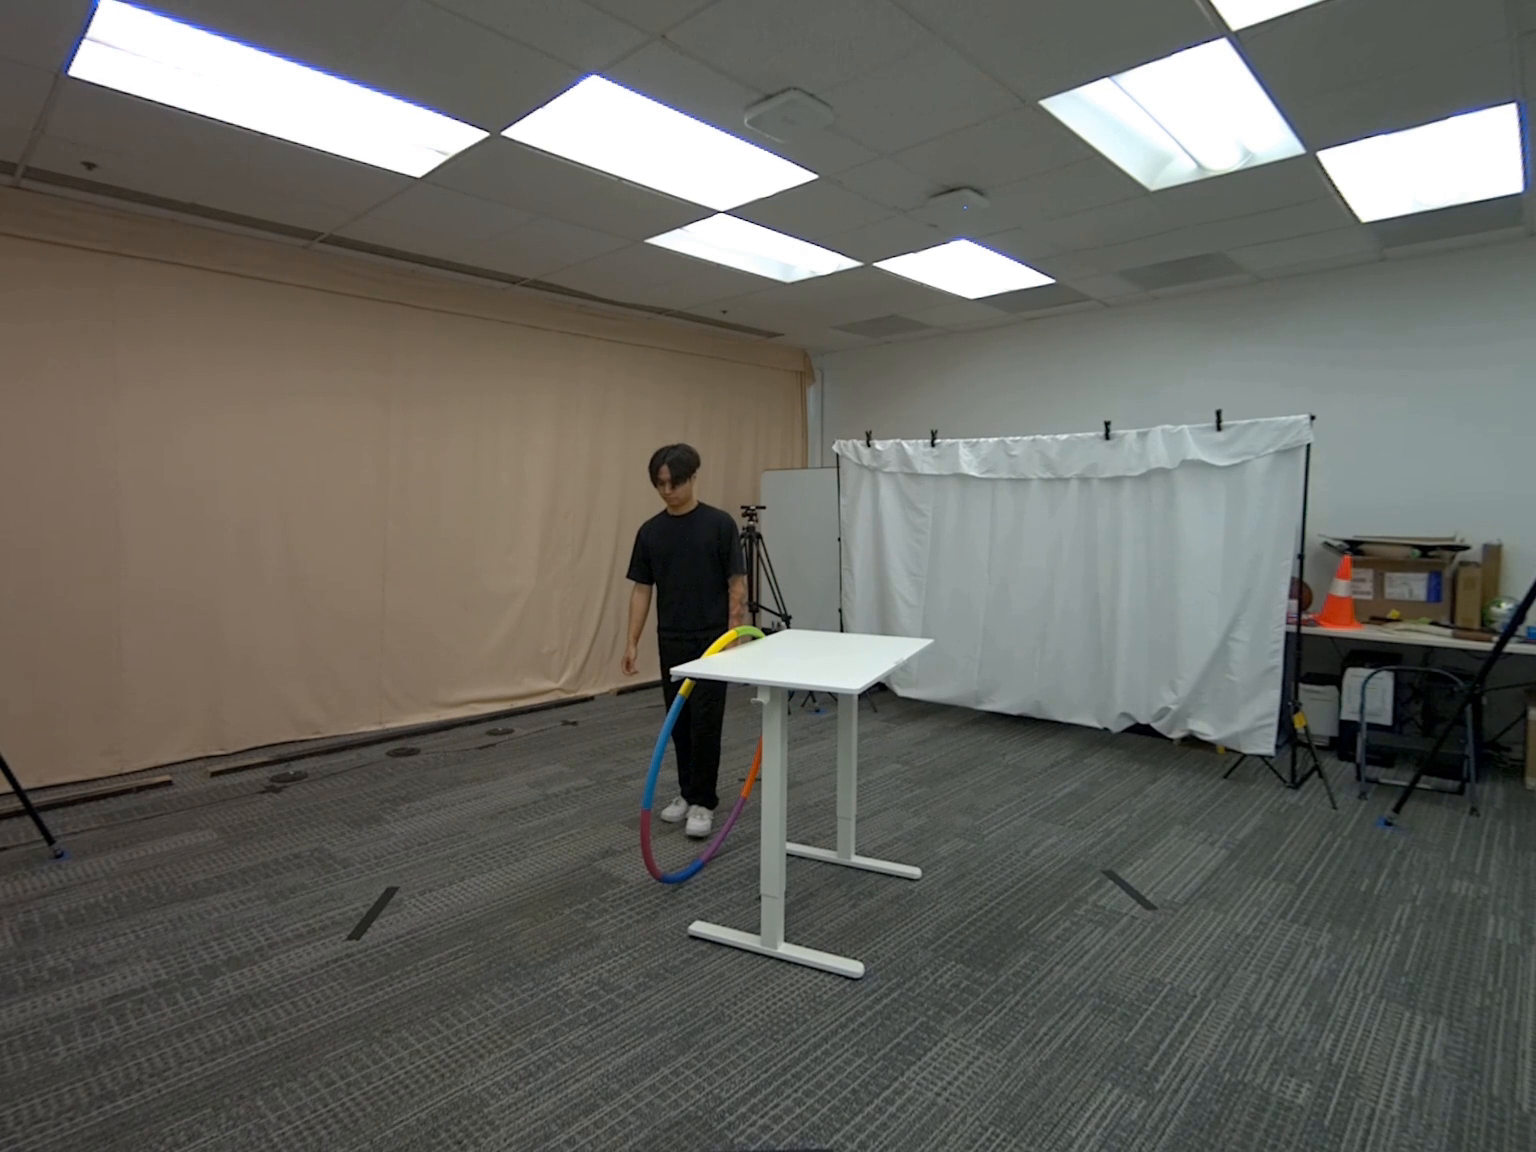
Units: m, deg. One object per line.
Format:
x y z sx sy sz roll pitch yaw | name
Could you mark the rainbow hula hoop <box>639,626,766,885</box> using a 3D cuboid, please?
-0.200 0.659 3.137 0.036 0.975 0.956 14 9 23 | rainbow hula hoop
